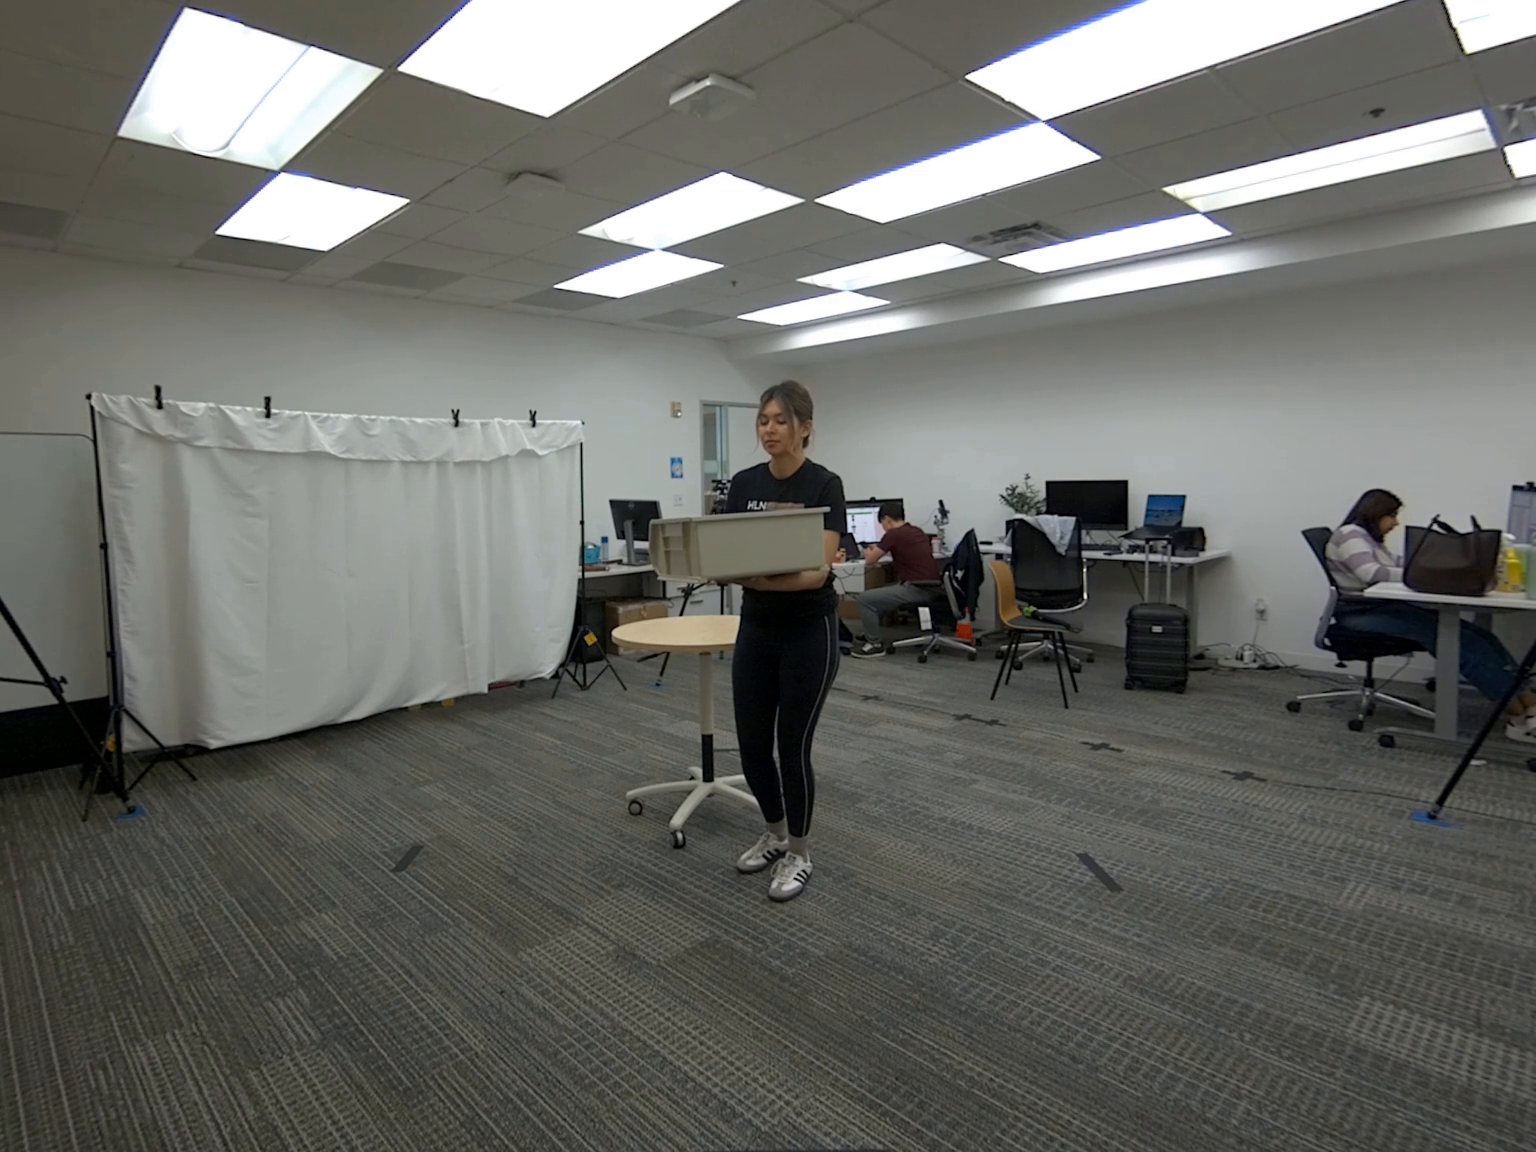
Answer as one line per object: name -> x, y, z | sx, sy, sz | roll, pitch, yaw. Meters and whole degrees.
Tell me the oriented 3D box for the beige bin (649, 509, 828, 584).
beige bin -> -0.094, -0.089, 2.503 | 0.414, 0.188, 0.386 | -6, 5, -25
